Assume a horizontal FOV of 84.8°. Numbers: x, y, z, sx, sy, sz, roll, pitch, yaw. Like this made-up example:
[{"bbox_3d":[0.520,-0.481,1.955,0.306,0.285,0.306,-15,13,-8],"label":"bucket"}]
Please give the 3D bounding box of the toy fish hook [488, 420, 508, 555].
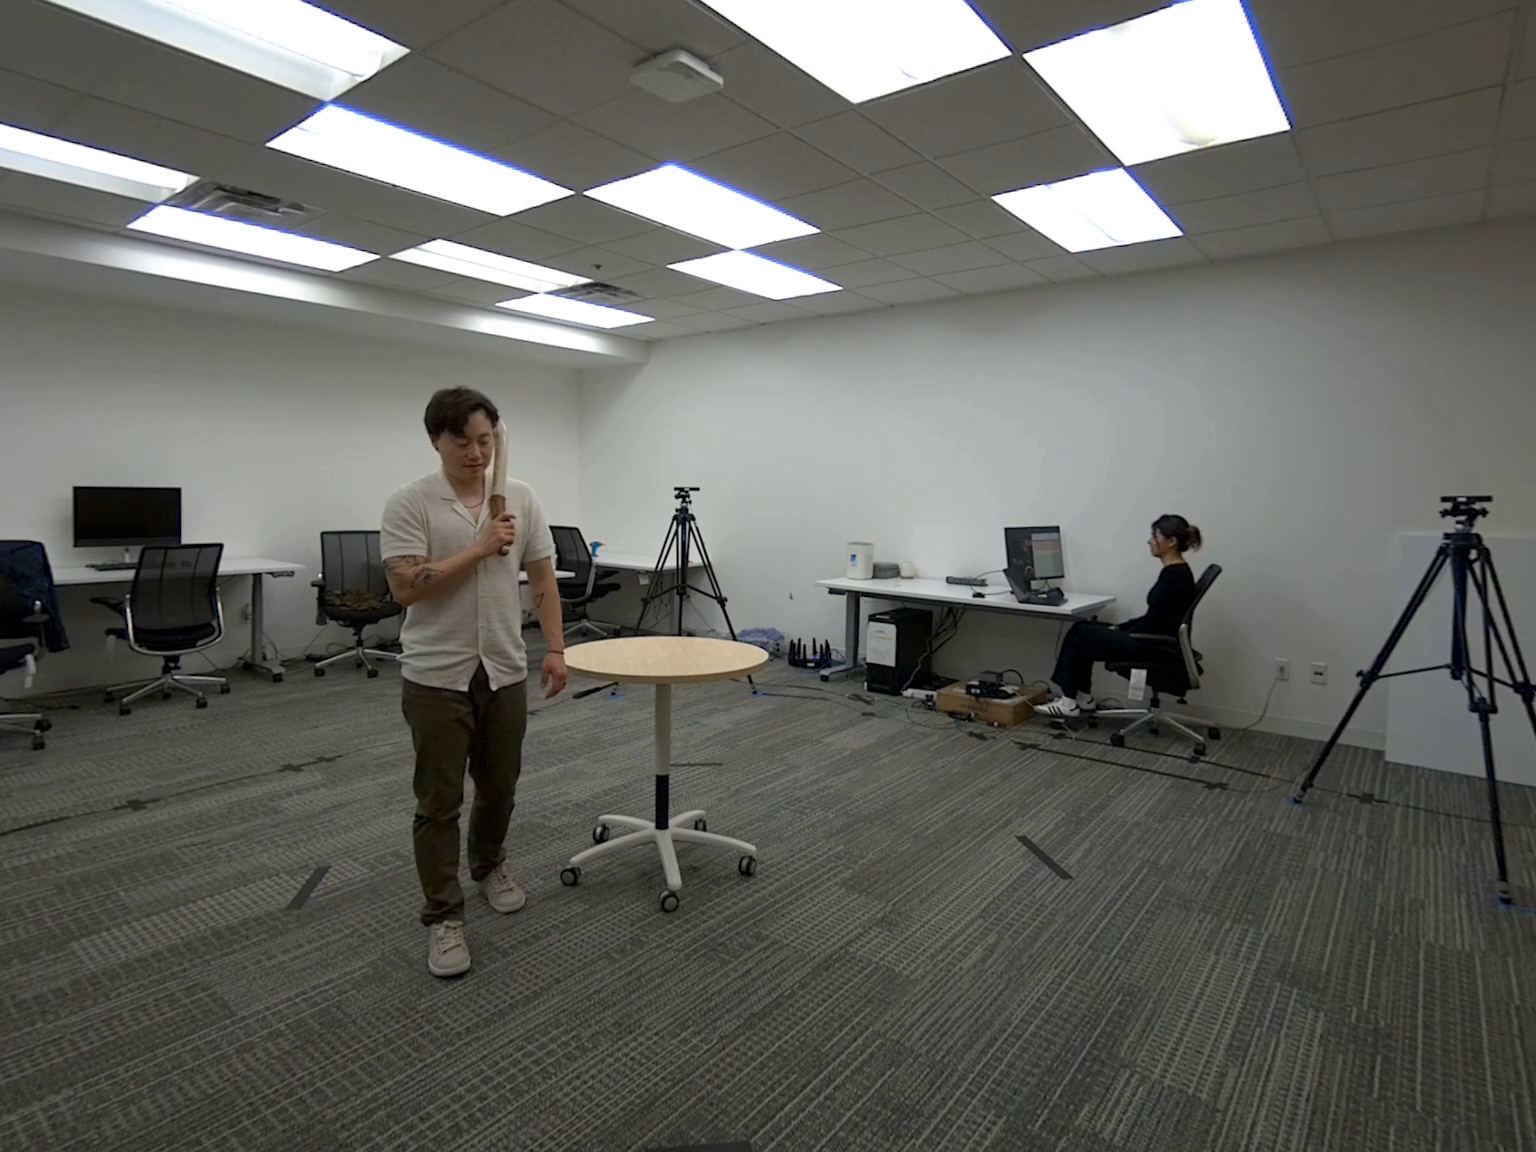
[{"bbox_3d":[-0.866,-0.258,2.611,0.046,0.522,0.226,13,-38,-38],"label":"toy fish hook"}]
